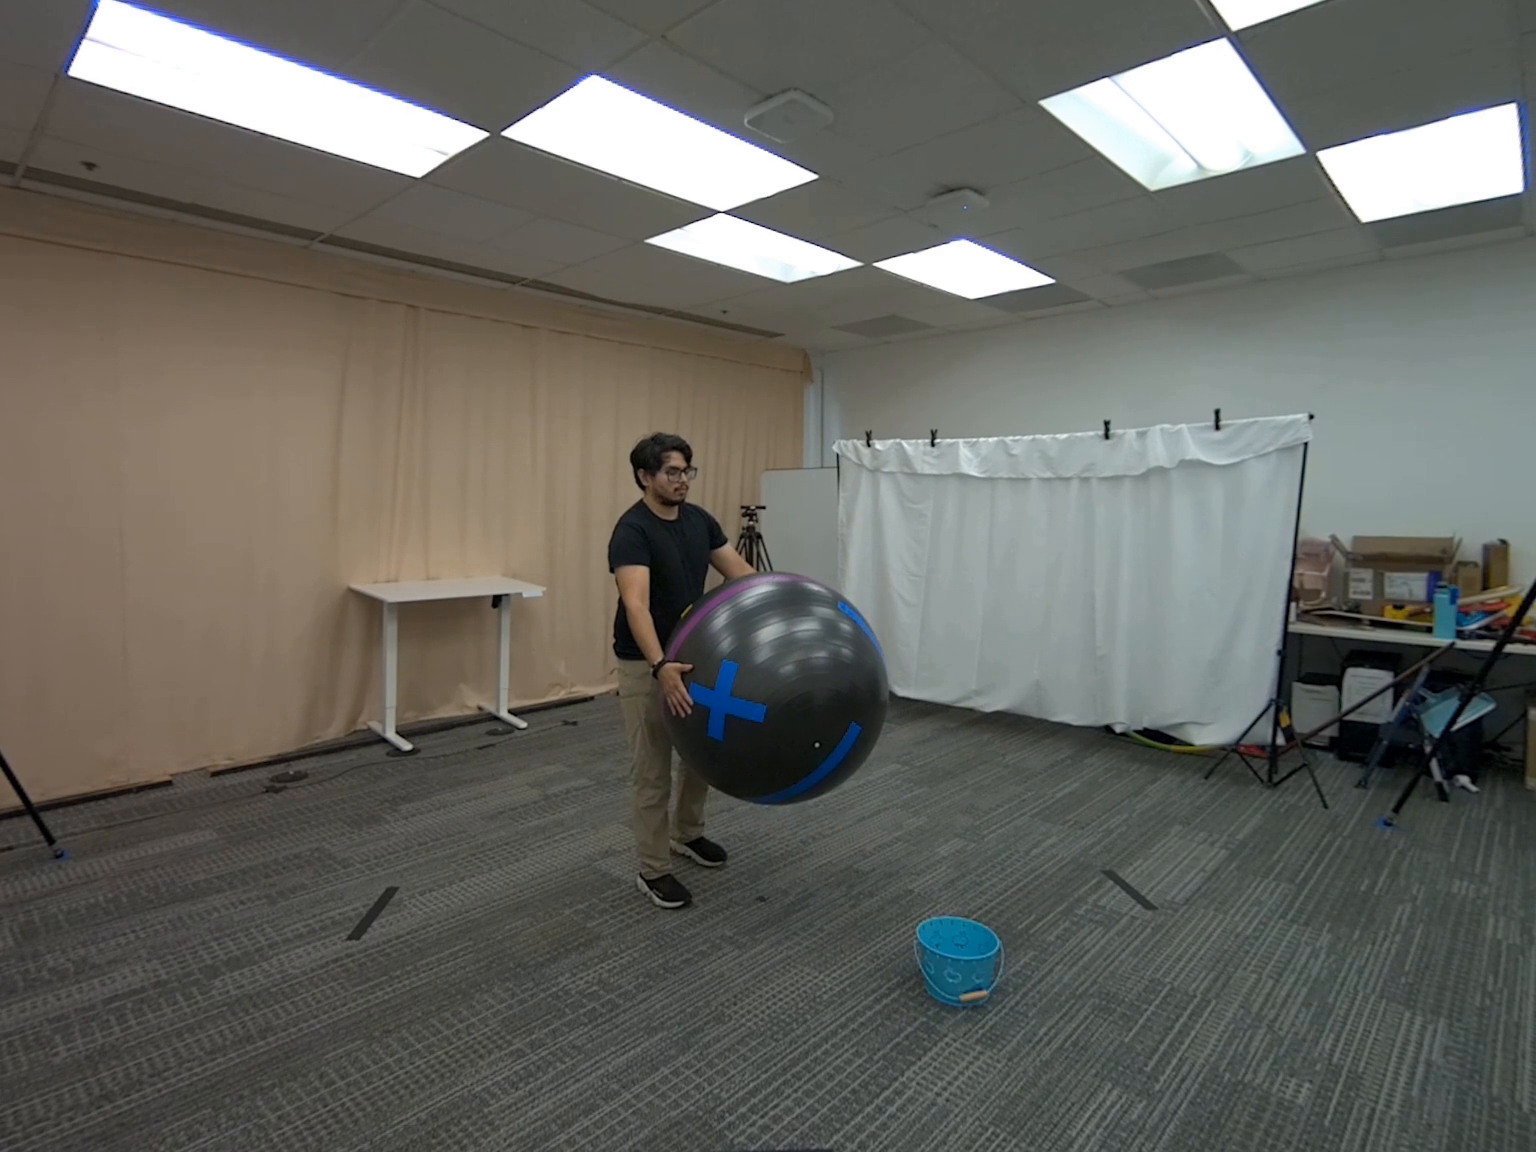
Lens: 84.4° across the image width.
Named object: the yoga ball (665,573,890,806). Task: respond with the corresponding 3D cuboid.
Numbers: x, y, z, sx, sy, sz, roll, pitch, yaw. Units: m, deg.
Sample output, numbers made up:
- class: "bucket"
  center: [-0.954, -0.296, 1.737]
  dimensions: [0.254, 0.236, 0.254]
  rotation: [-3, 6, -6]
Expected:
- class: "yoga ball"
  center: [0.020, 0.375, 2.793]
  dimensions: [0.757, 0.756, 0.760]
  rotation: [0, 4, -2]
